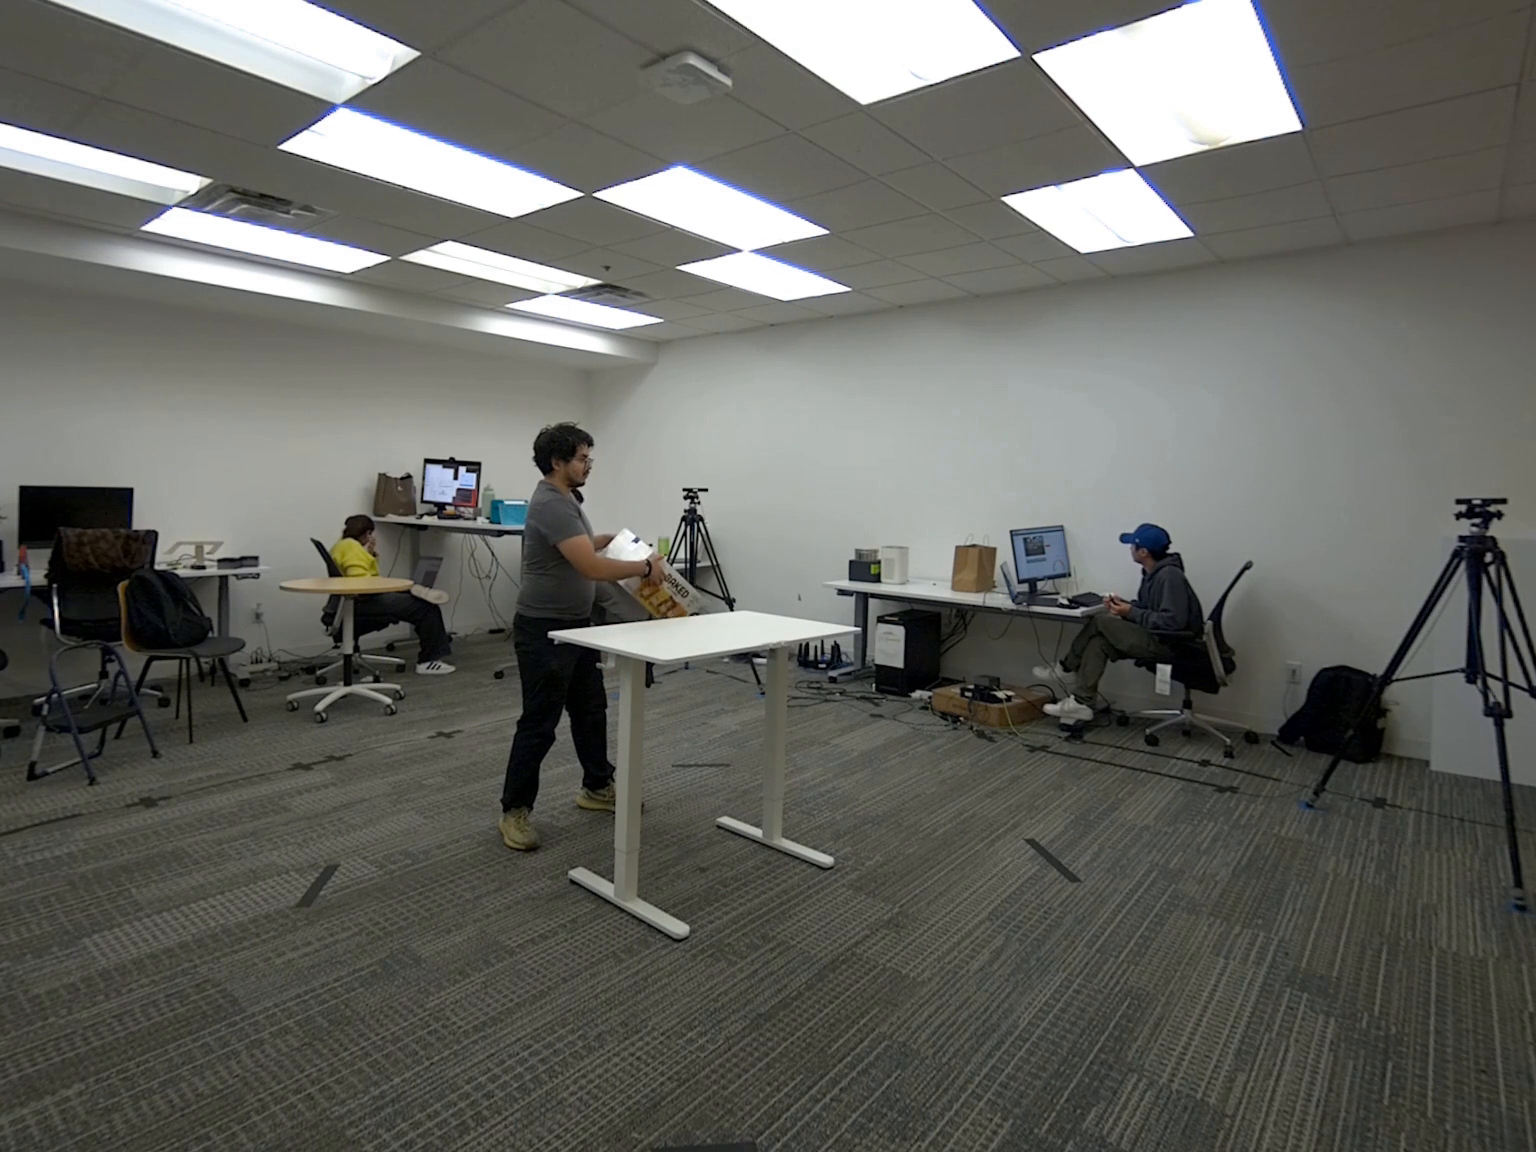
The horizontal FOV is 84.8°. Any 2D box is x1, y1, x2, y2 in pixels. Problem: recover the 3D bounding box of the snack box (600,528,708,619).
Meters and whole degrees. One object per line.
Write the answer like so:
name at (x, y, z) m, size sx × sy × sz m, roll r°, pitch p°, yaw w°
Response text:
snack box at (-0.518, 0.028, 3.733) m, size 0.389 × 0.205 × 0.354 m, roll 47°, pitch -8°, yaw -34°
